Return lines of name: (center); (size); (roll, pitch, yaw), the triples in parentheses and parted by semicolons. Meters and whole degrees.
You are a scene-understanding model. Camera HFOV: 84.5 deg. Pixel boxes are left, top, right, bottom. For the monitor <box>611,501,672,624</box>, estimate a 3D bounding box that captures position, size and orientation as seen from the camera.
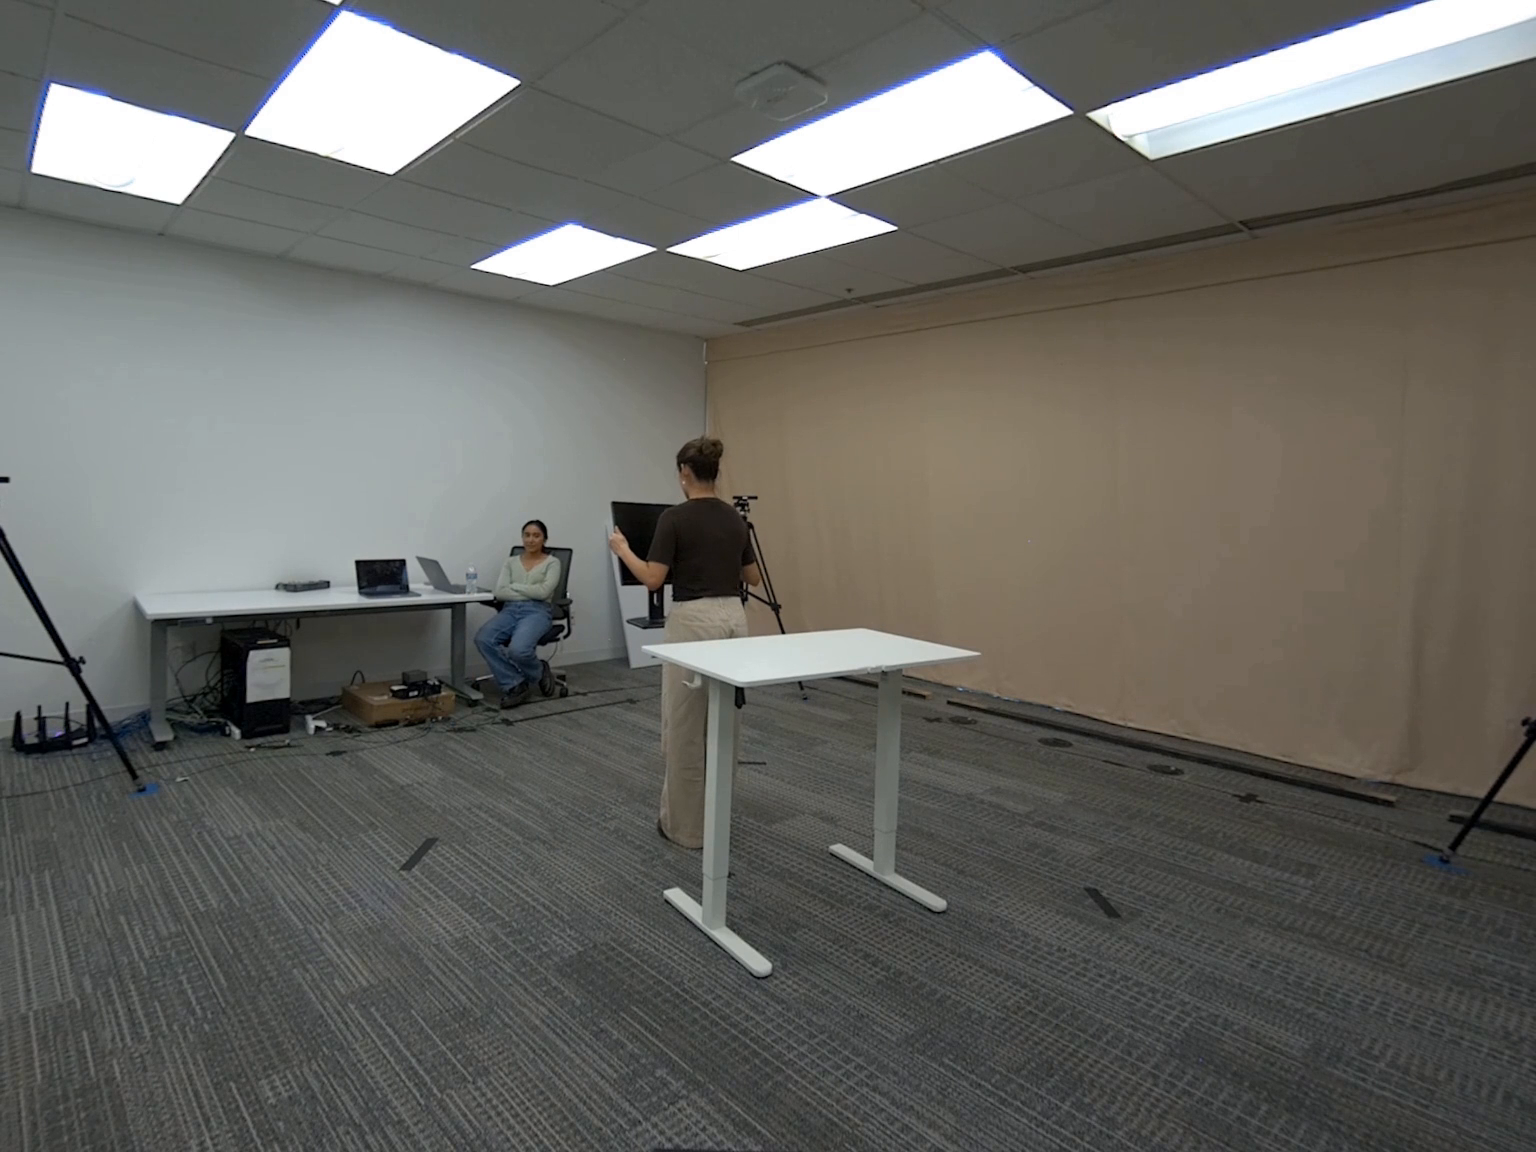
monitor: (-0.451, -0.045, 3.621); (0.192, 0.522, 0.526); (4, 2, 45)
